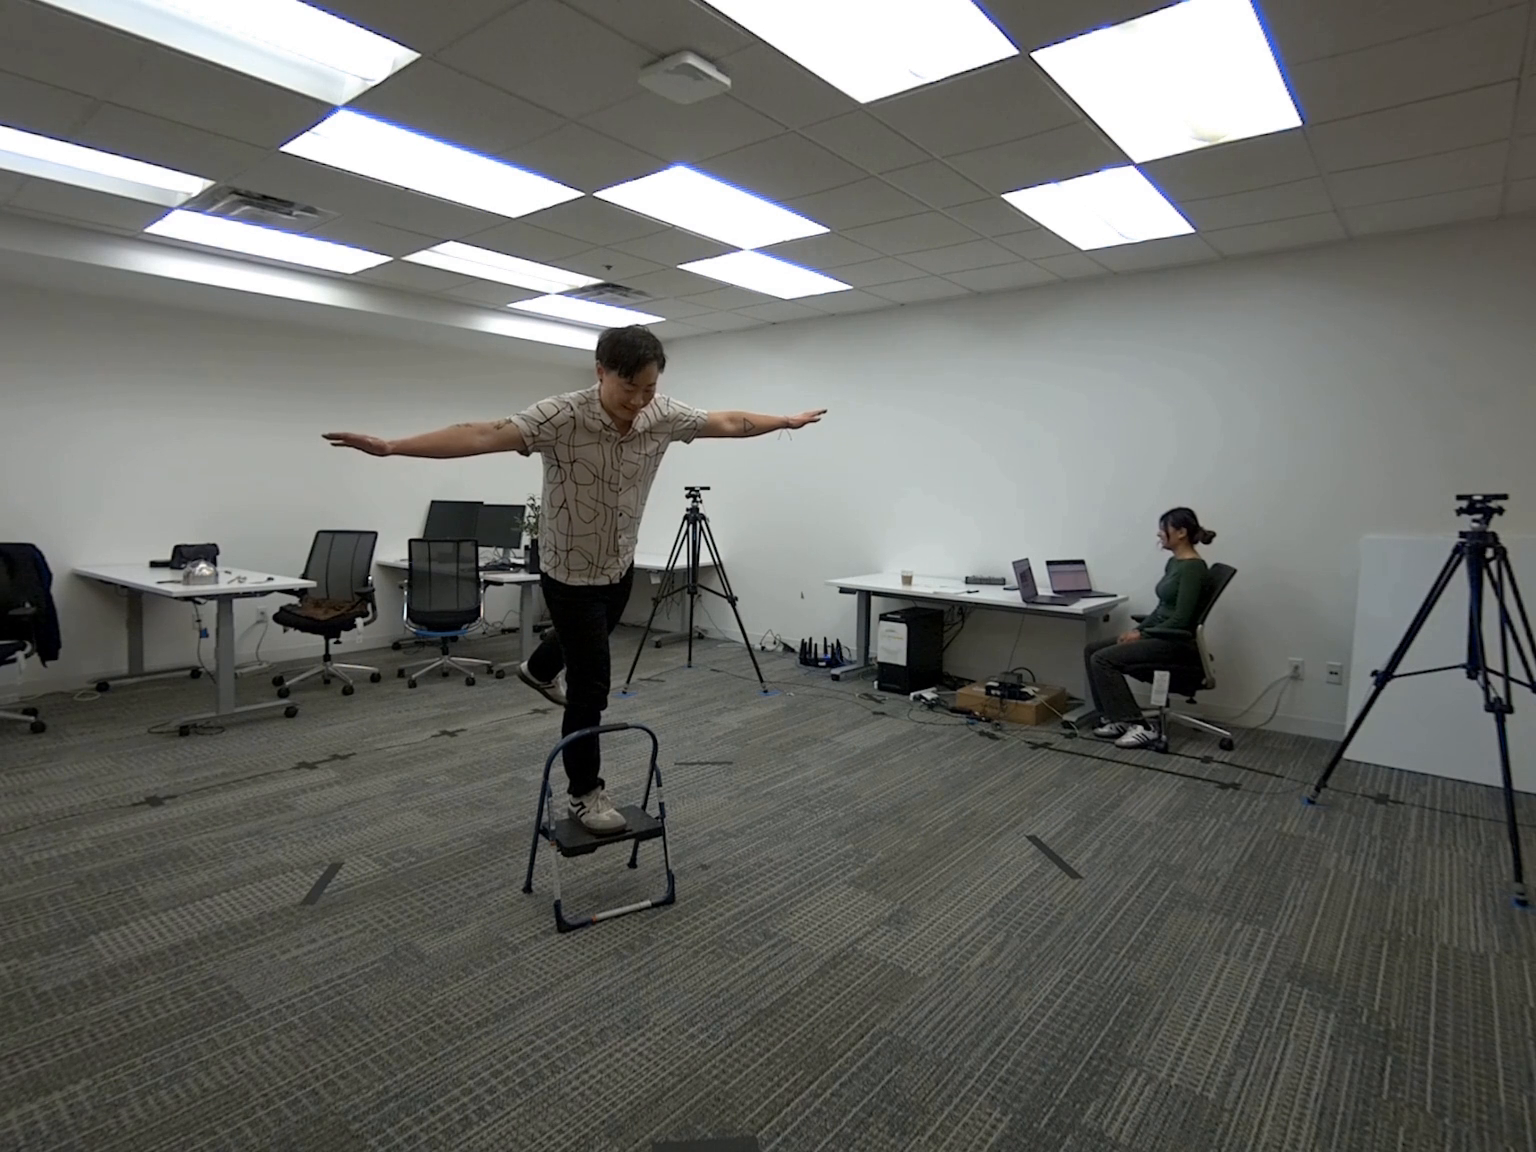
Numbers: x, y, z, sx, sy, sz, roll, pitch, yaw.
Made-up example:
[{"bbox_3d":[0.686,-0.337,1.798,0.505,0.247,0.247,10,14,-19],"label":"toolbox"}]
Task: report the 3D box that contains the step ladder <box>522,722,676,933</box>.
[{"bbox_3d":[-0.581,0.781,2.870,0.418,0.604,0.360,-2,4,-34],"label":"step ladder"}]
